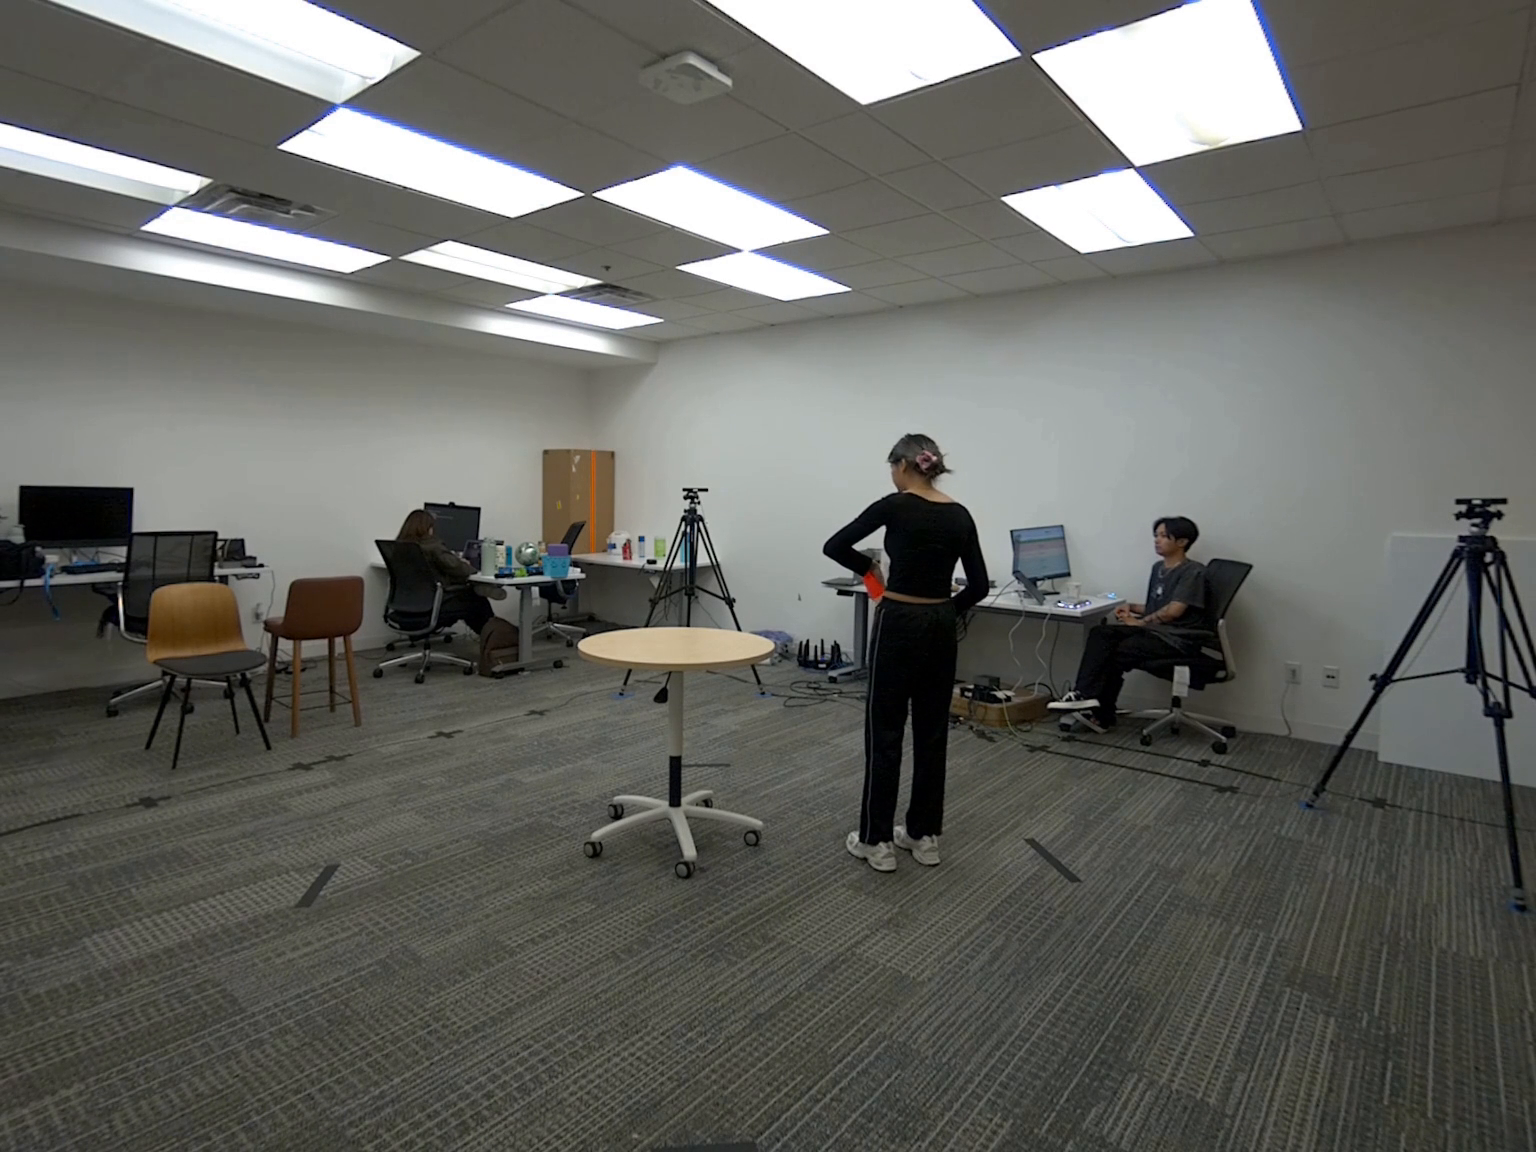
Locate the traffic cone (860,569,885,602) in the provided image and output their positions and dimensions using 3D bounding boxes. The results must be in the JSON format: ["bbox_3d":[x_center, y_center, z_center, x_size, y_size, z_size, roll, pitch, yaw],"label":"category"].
[{"bbox_3d":[0.493,0.107,3.462,0.206,0.379,0.205,-29,14,46],"label":"traffic cone"}]
